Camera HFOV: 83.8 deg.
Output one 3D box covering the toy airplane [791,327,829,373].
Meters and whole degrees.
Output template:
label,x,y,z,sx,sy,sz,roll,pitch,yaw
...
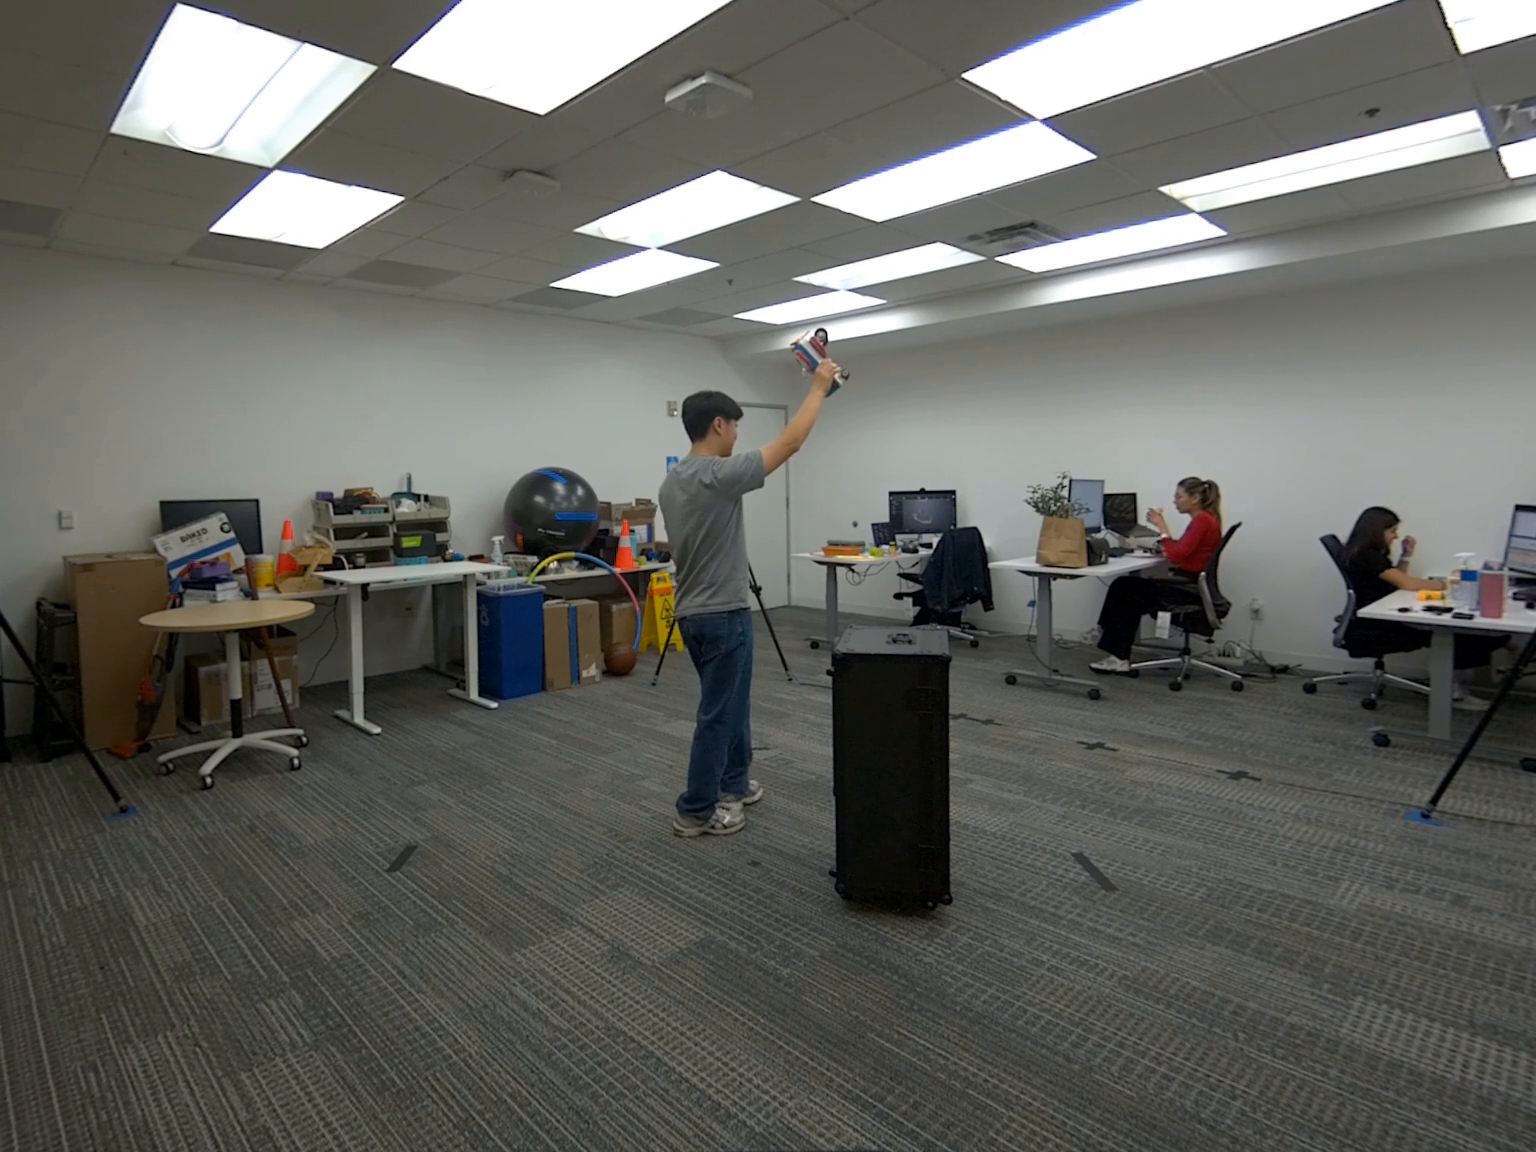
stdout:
label,x,y,z,sx,sy,sz,roll,pitch,yaw
toy airplane,0.205,-0.848,3.362,0.157,0.268,0.242,-29,-31,6
